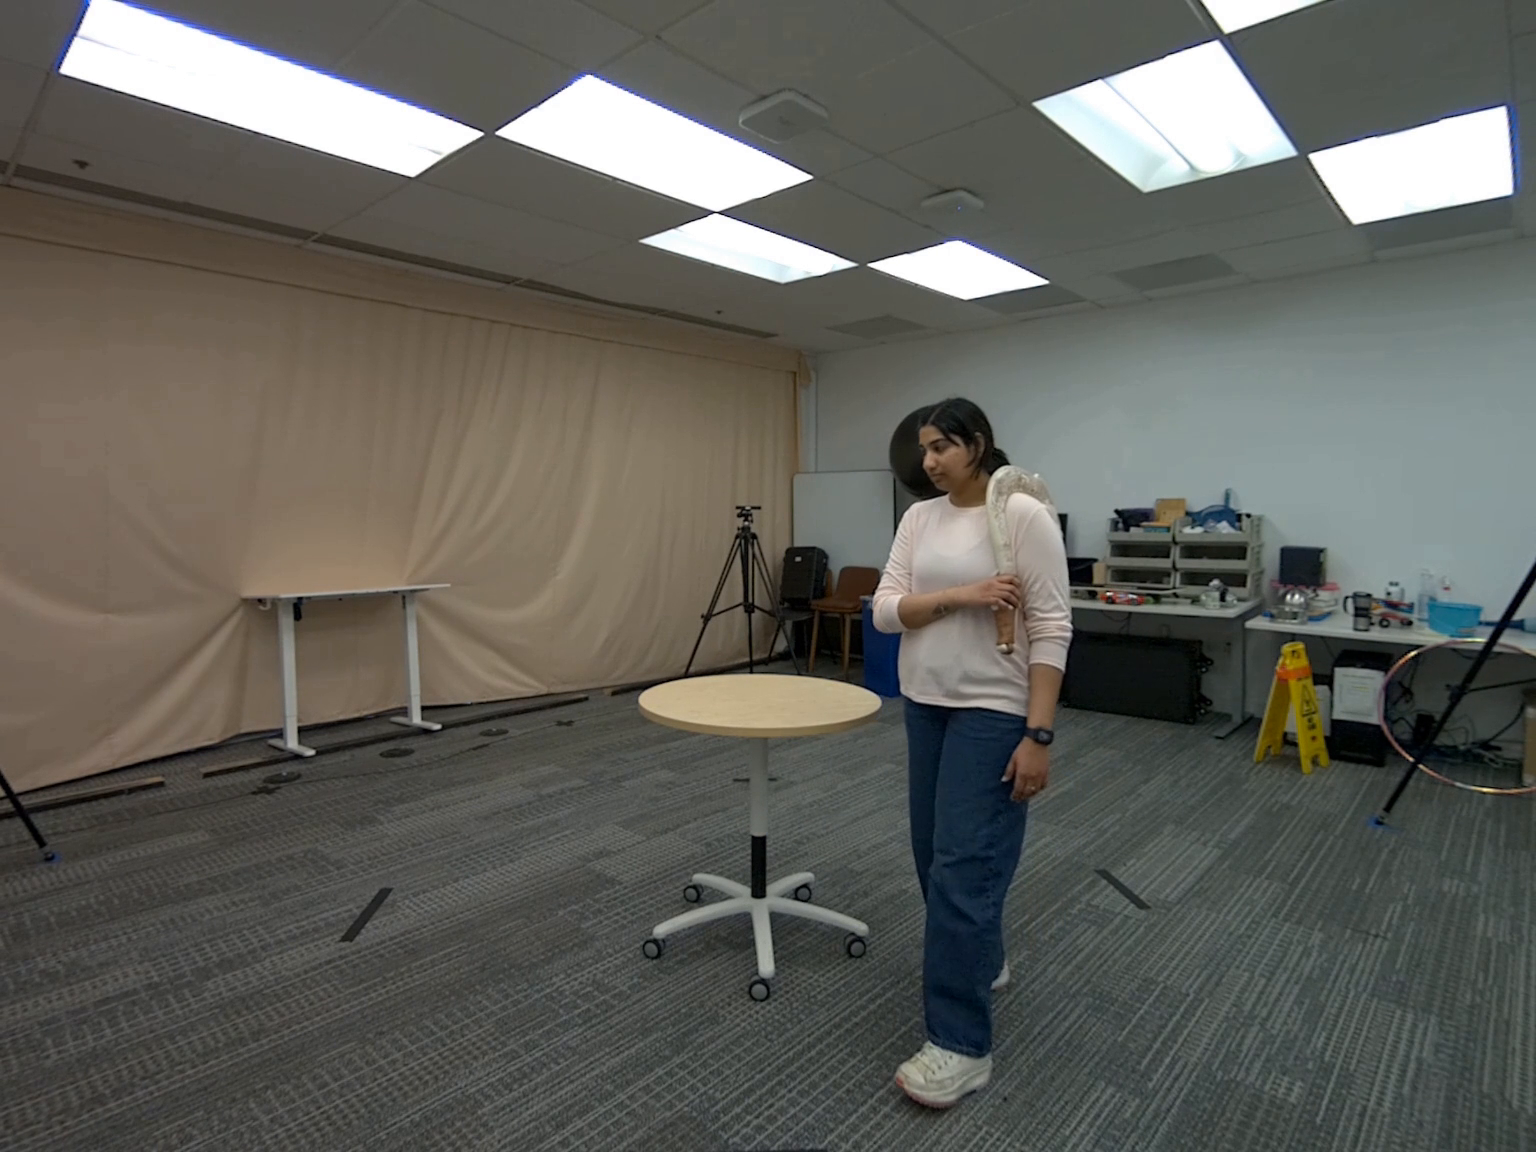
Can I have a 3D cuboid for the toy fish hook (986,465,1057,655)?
[{"bbox_3d":[0.639,-0.042,2.092,0.221,0.512,0.048,10,-21,-15],"label":"toy fish hook"}]
